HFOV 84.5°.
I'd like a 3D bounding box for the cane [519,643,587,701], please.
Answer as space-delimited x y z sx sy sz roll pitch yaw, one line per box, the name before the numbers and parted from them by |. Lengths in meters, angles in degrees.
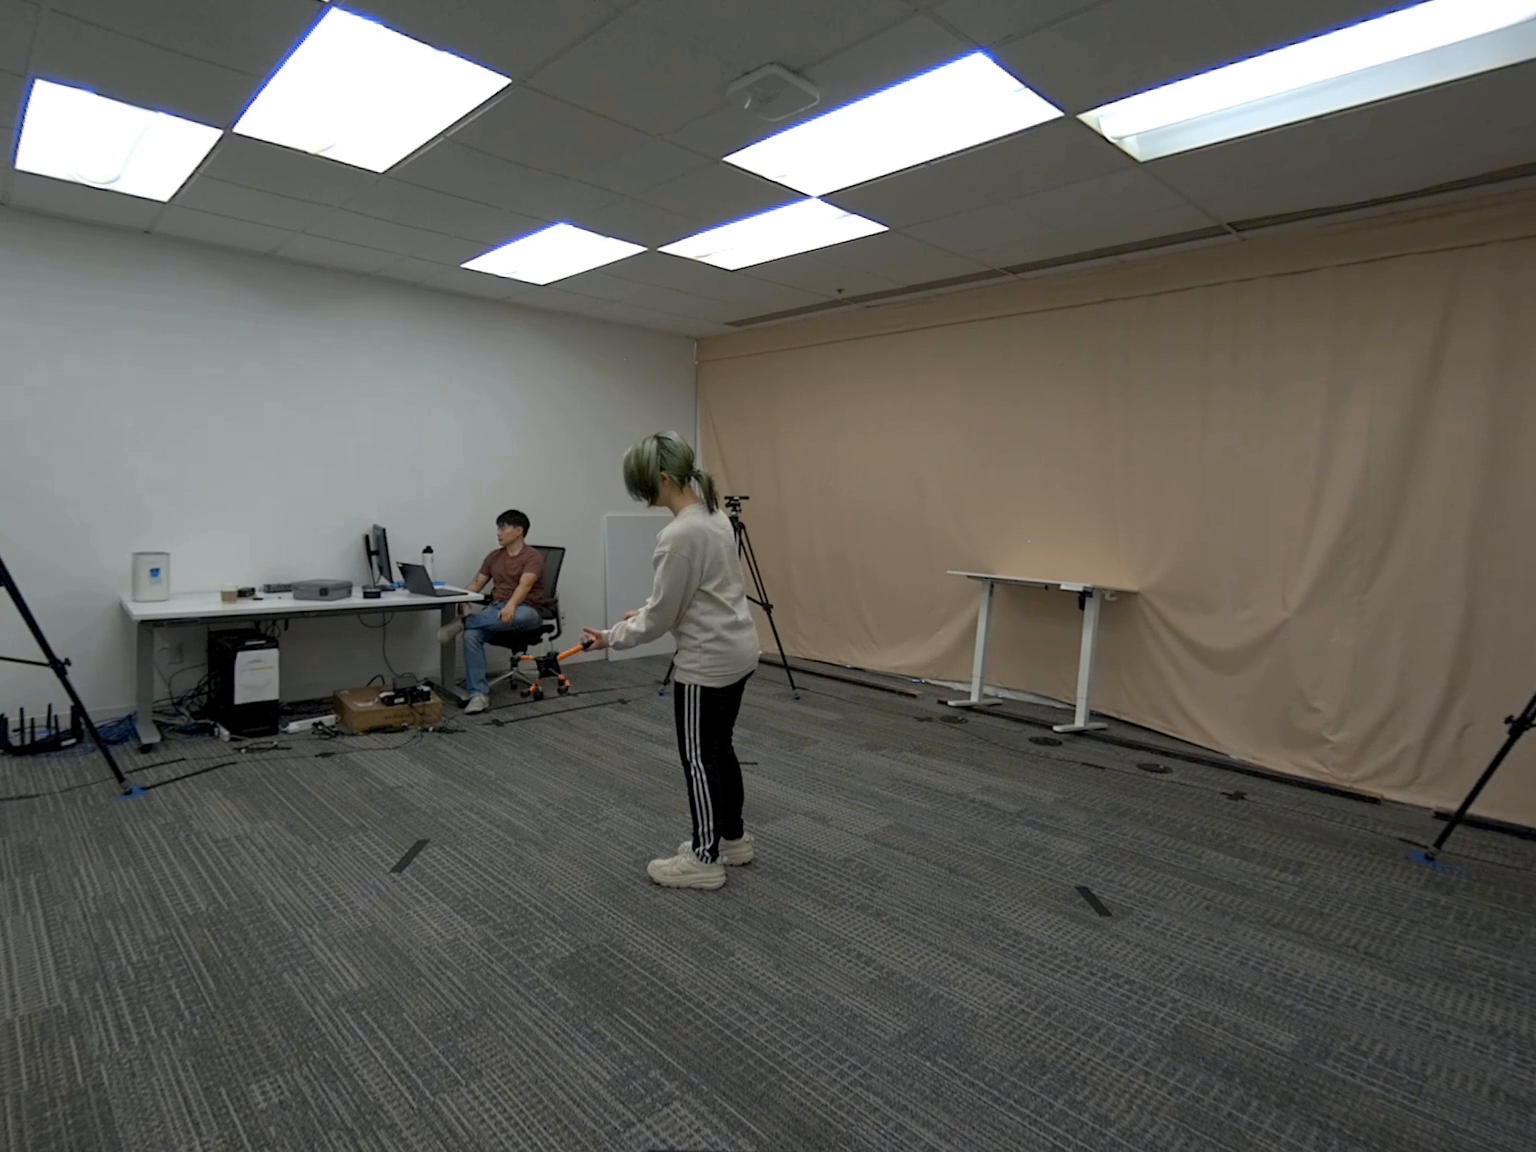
cane | -0.567 0.219 3.183 0.210 0.150 0.898 -10 9 31
